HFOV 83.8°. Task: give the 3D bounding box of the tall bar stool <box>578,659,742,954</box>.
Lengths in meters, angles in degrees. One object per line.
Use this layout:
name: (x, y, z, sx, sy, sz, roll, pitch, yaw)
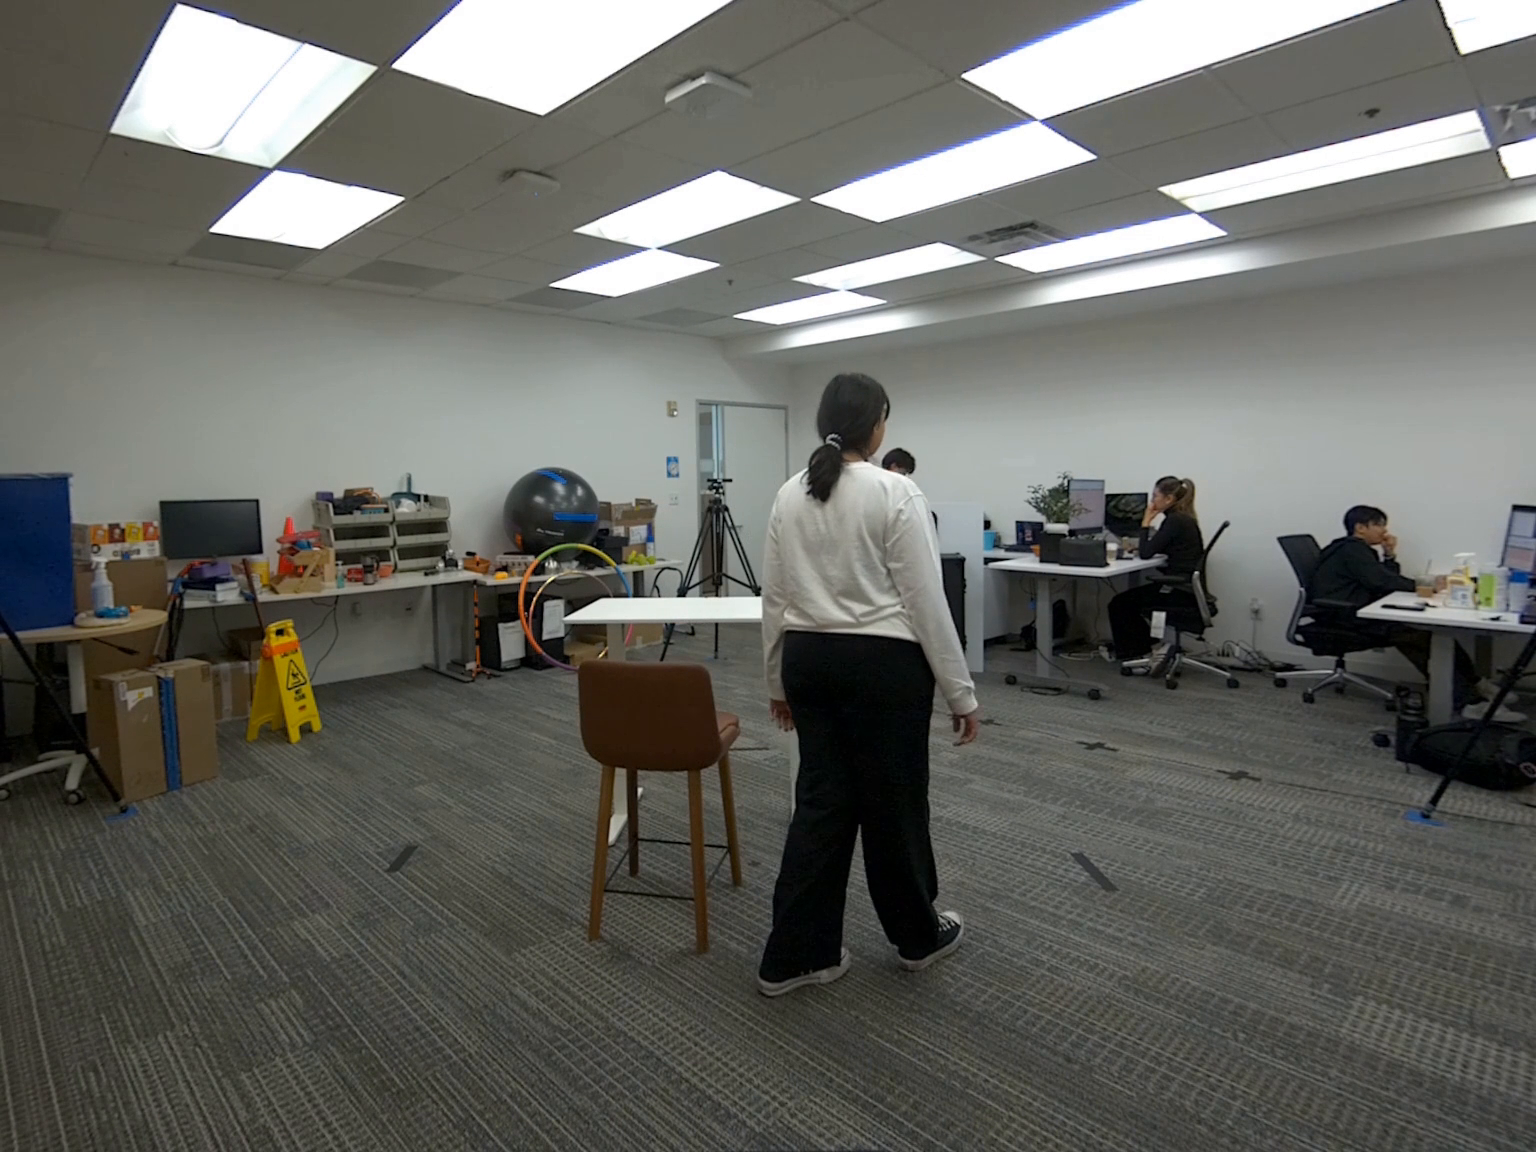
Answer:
tall bar stool: (-0.333, 0.658, 2.753, 0.463, 0.885, 0.464, 0, 6, 13)
